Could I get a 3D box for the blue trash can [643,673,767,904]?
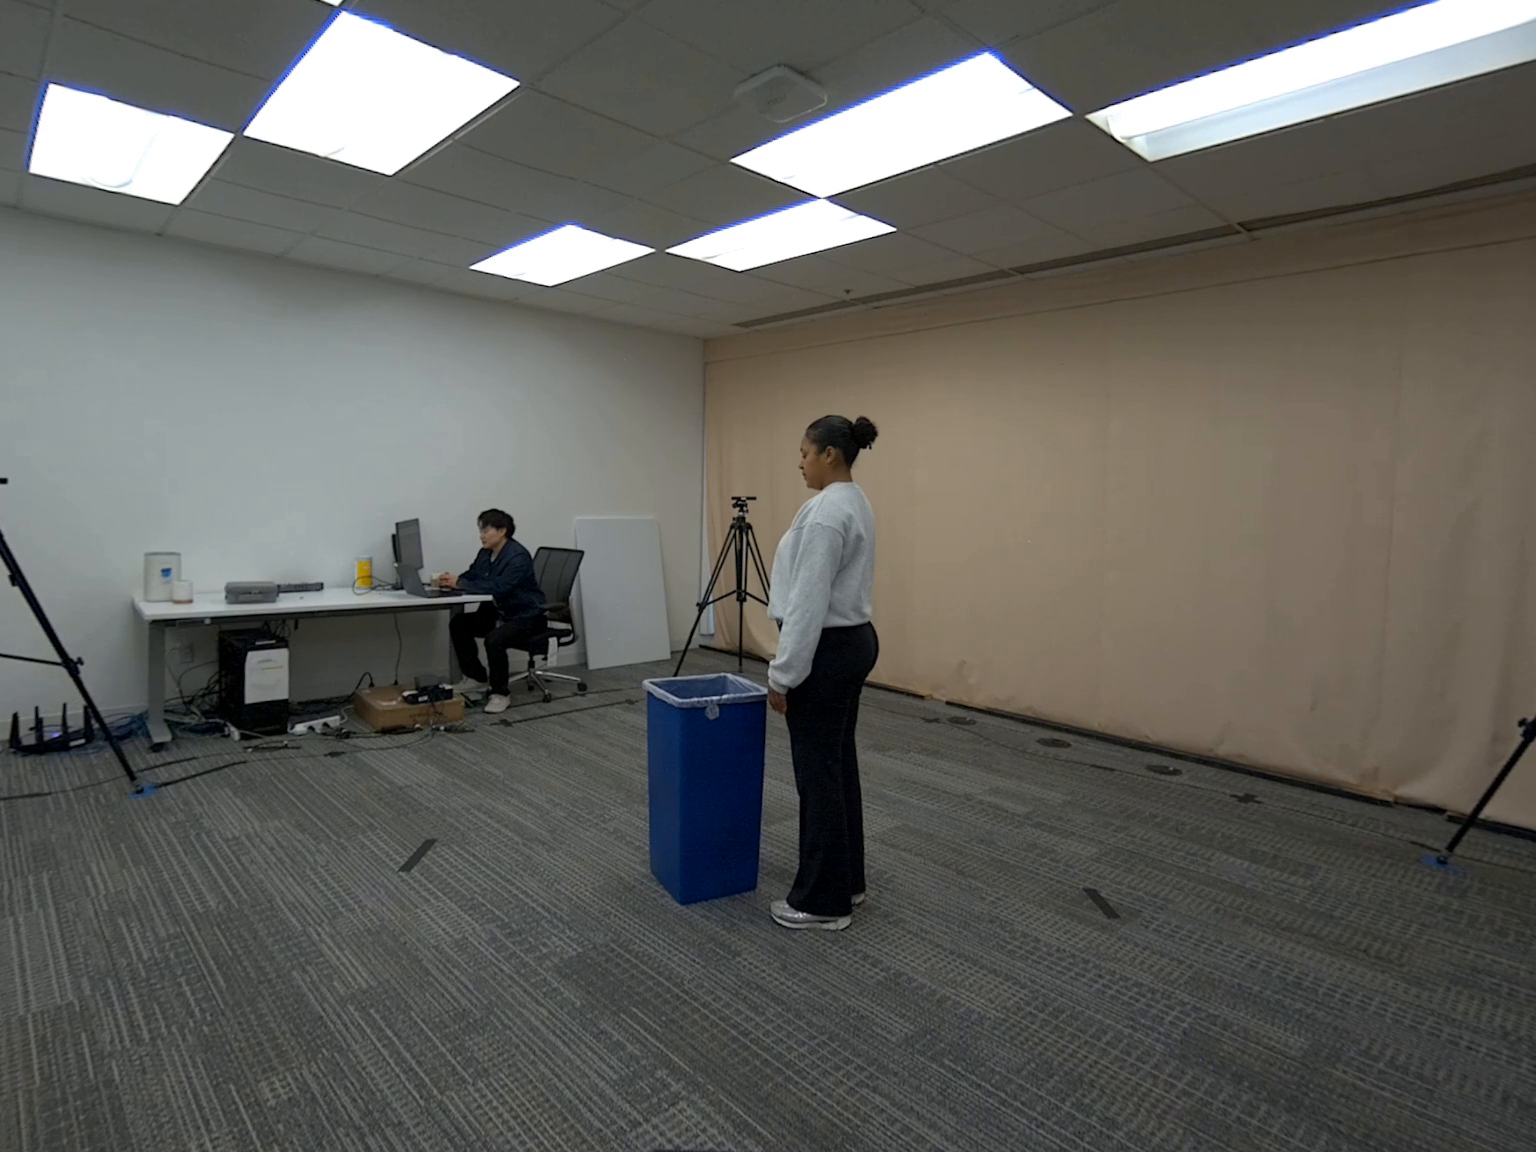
[{"bbox_3d":[-0.232,0.752,3.058,0.366,0.712,0.386,-1,4,-31],"label":"blue trash can"}]
